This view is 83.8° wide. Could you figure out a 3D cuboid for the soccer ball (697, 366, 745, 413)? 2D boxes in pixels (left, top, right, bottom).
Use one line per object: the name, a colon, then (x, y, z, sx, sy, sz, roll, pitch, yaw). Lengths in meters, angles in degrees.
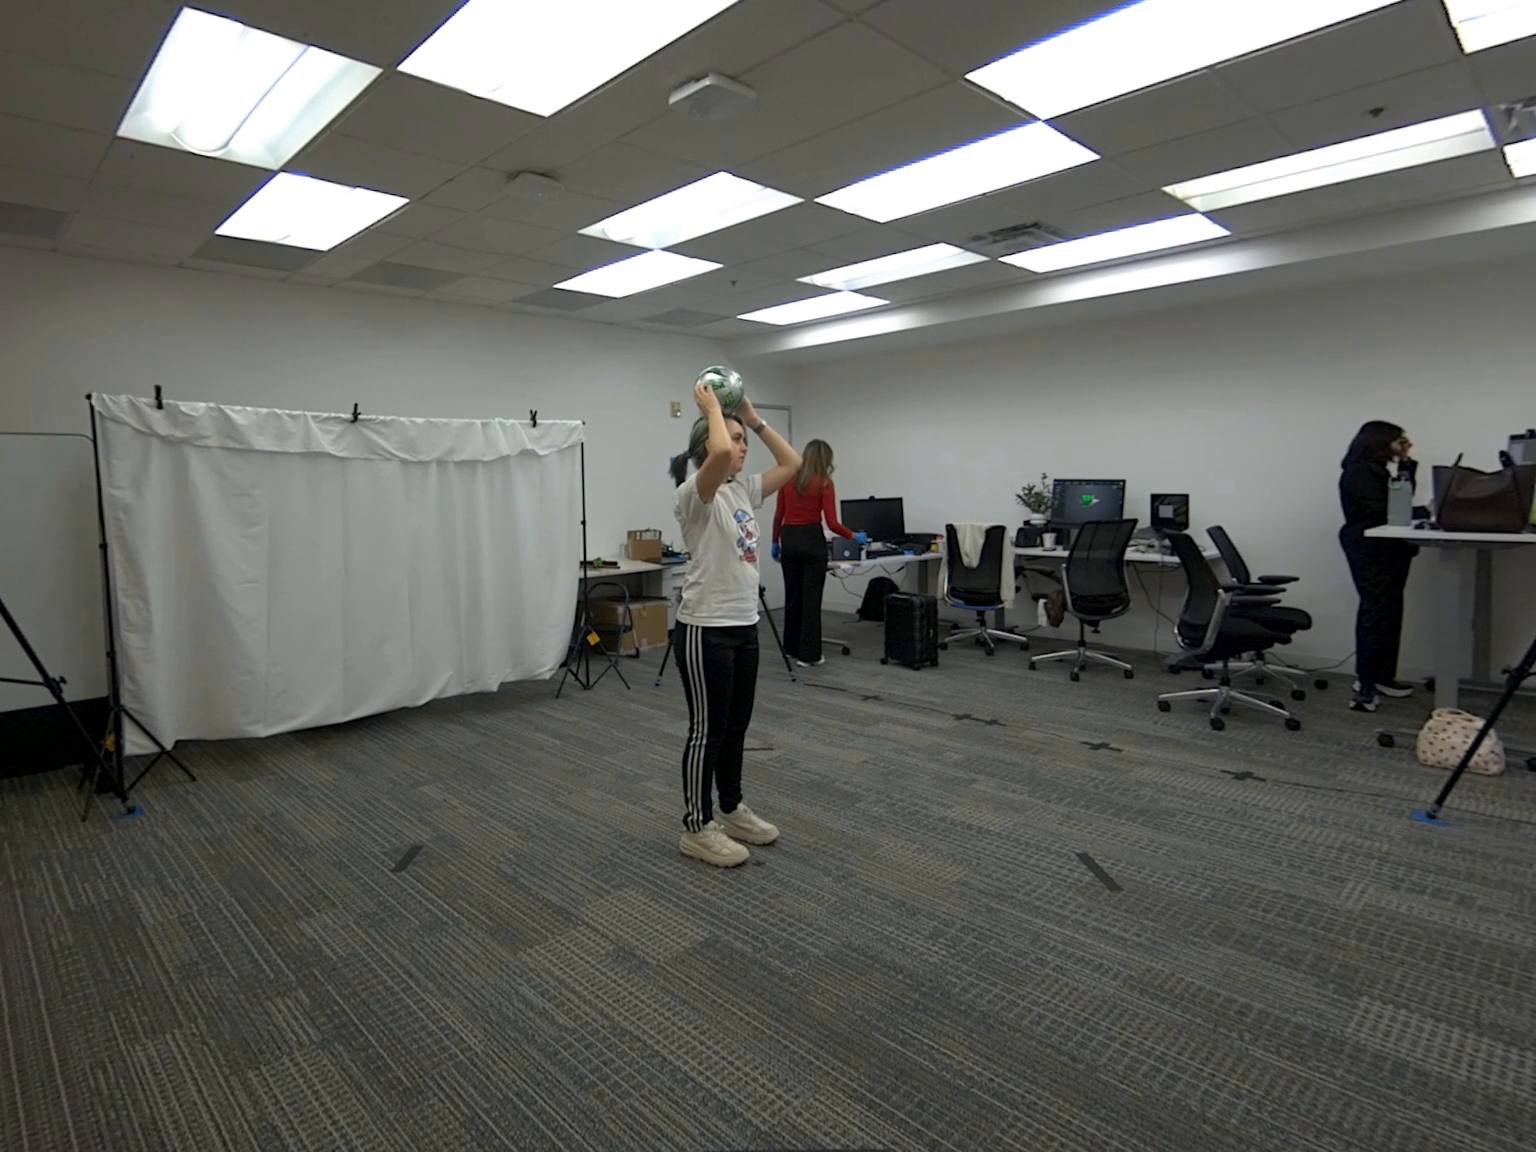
soccer ball: (-0.181, -0.680, 3.169, 0.187, 0.187, 0.188, -1, 5, -2)
